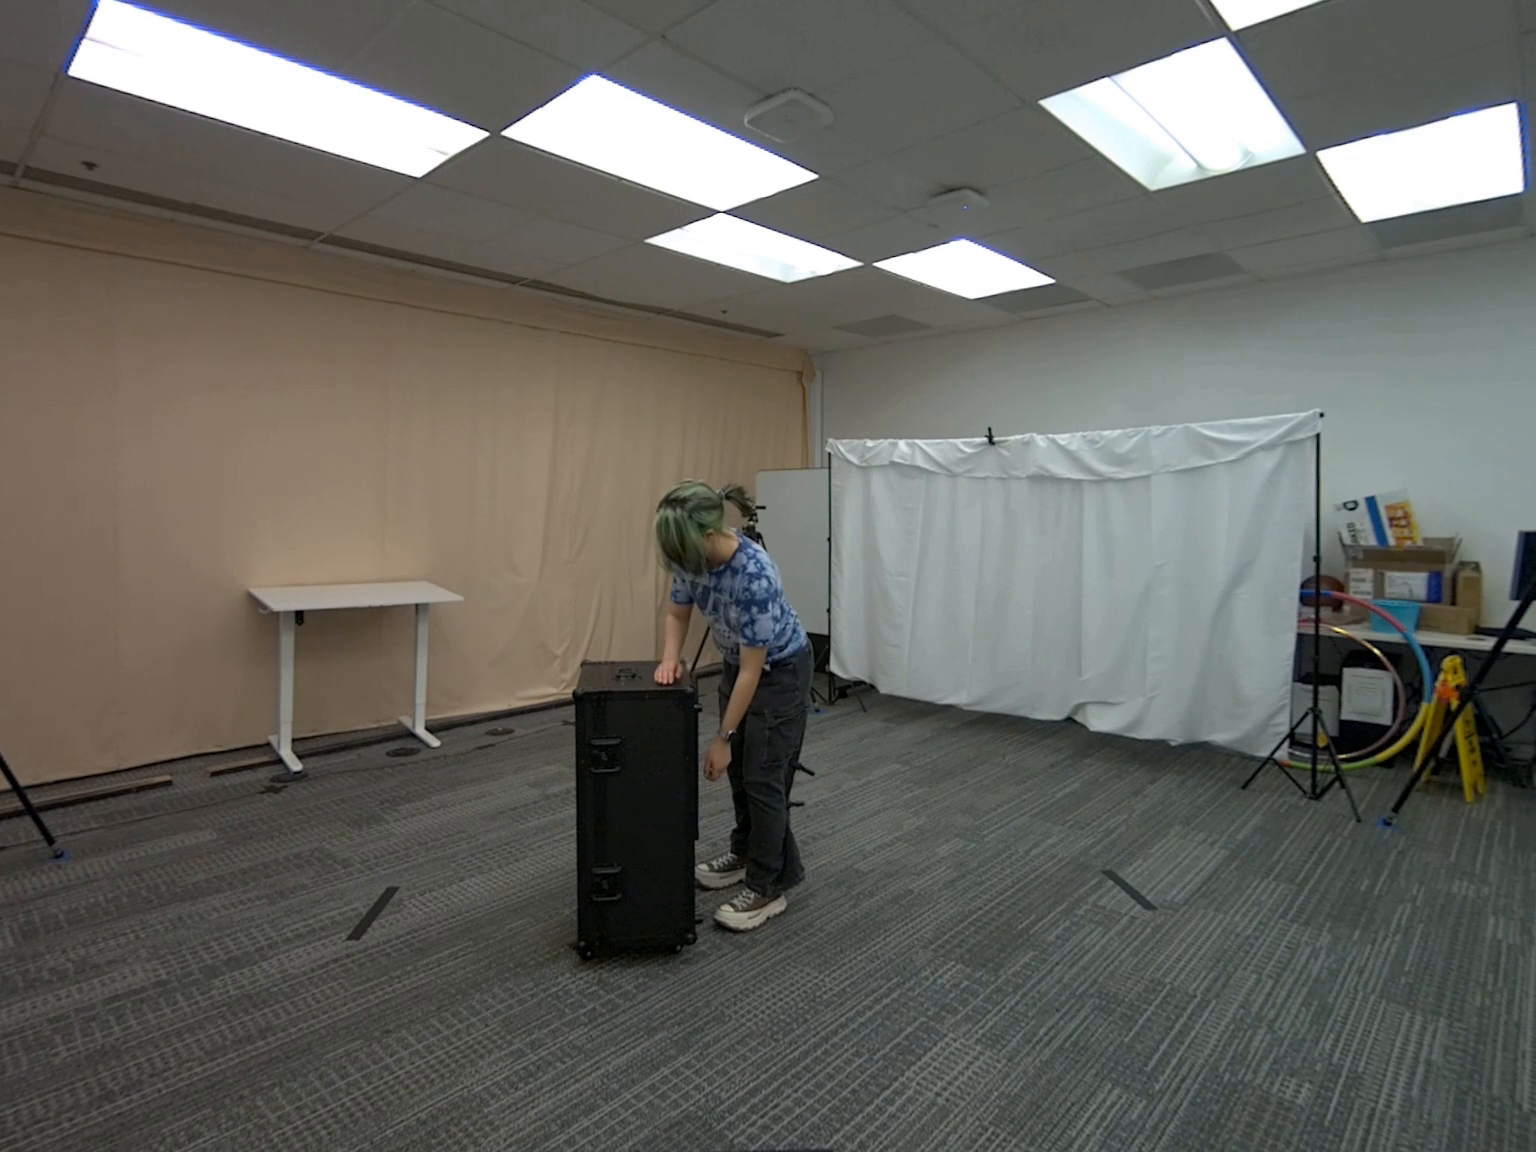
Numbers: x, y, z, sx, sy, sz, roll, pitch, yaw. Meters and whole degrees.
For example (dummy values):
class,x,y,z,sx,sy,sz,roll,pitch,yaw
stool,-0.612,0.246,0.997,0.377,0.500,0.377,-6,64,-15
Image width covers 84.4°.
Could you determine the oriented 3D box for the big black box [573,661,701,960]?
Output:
class,x,y,z,sx,sy,sz,roll,pitch,yaw
big black box,-0.431,0.749,2.738,0.393,0.860,0.526,0,2,-8
